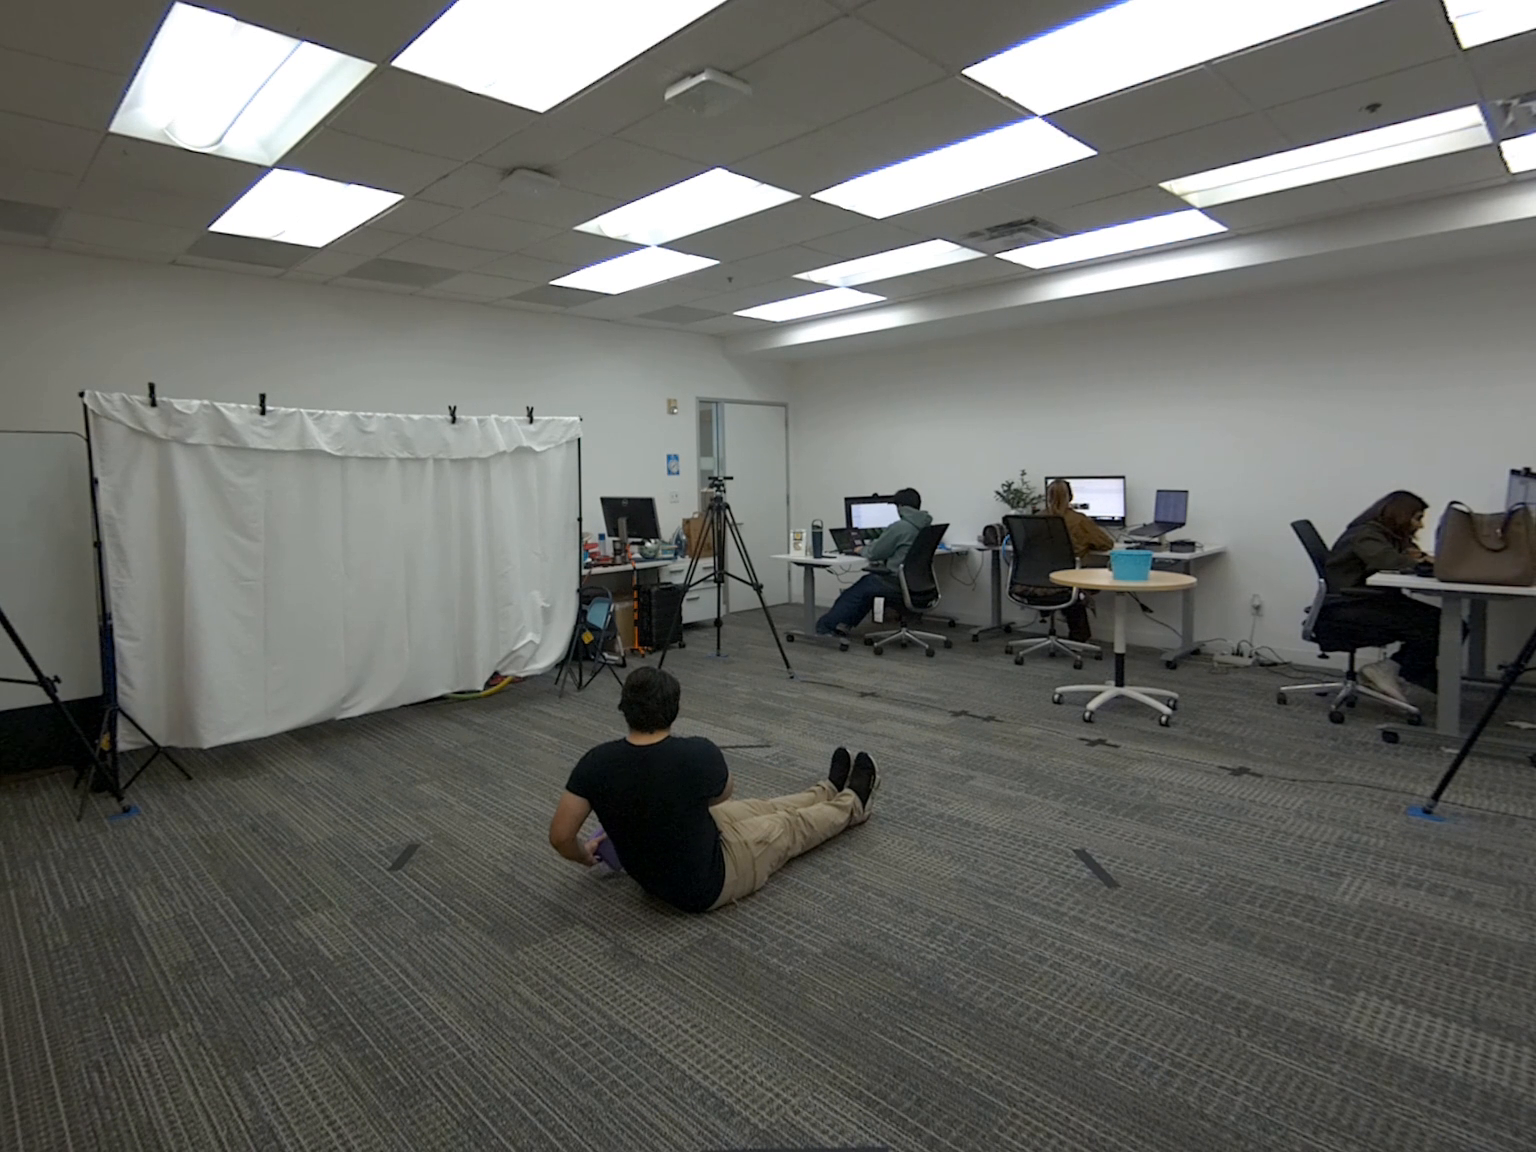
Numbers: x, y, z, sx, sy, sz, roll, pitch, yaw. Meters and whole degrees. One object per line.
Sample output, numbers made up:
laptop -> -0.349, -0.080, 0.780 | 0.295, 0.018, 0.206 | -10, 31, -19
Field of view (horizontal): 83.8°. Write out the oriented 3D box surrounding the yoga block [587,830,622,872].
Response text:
yoga block -> -0.509, 0.927, 3.049 | 0.229, 0.148, 0.077 | -42, 3, -17
